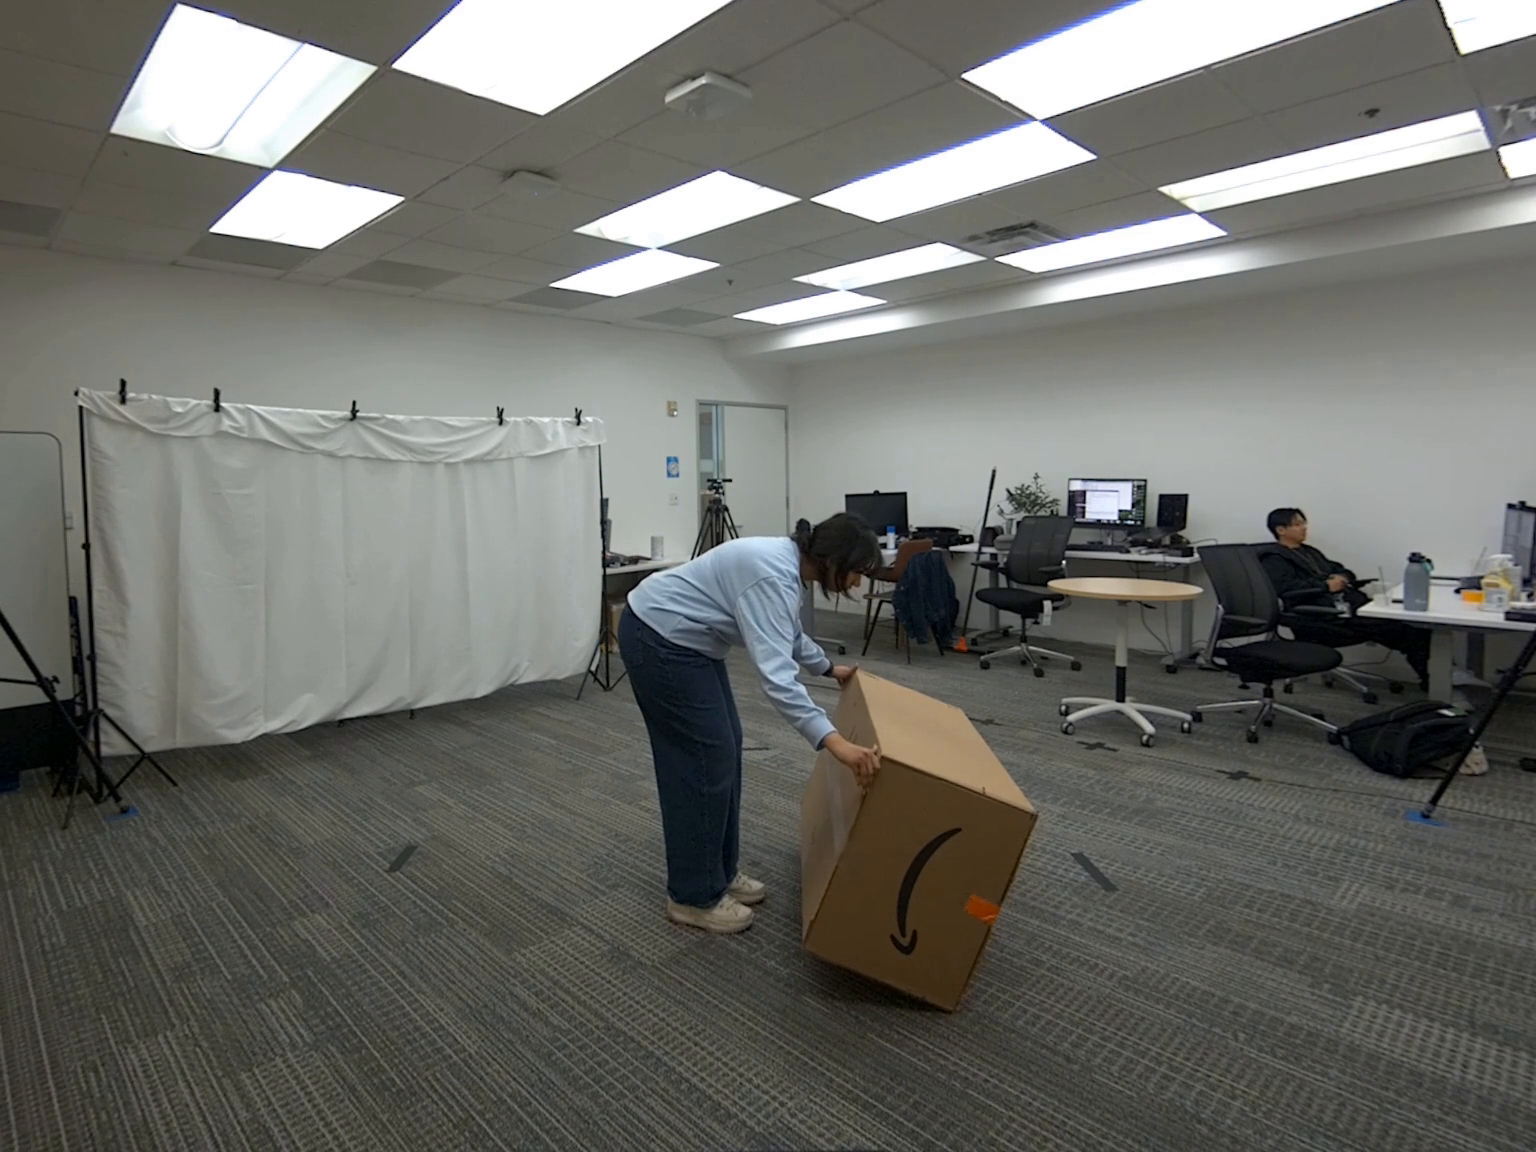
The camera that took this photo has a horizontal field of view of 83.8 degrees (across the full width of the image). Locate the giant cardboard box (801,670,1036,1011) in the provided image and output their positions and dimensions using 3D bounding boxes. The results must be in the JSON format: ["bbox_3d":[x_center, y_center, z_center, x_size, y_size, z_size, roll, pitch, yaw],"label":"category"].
[{"bbox_3d":[0.409,0.736,2.707,0.427,0.576,1.027,20,6,0],"label":"giant cardboard box"}]
